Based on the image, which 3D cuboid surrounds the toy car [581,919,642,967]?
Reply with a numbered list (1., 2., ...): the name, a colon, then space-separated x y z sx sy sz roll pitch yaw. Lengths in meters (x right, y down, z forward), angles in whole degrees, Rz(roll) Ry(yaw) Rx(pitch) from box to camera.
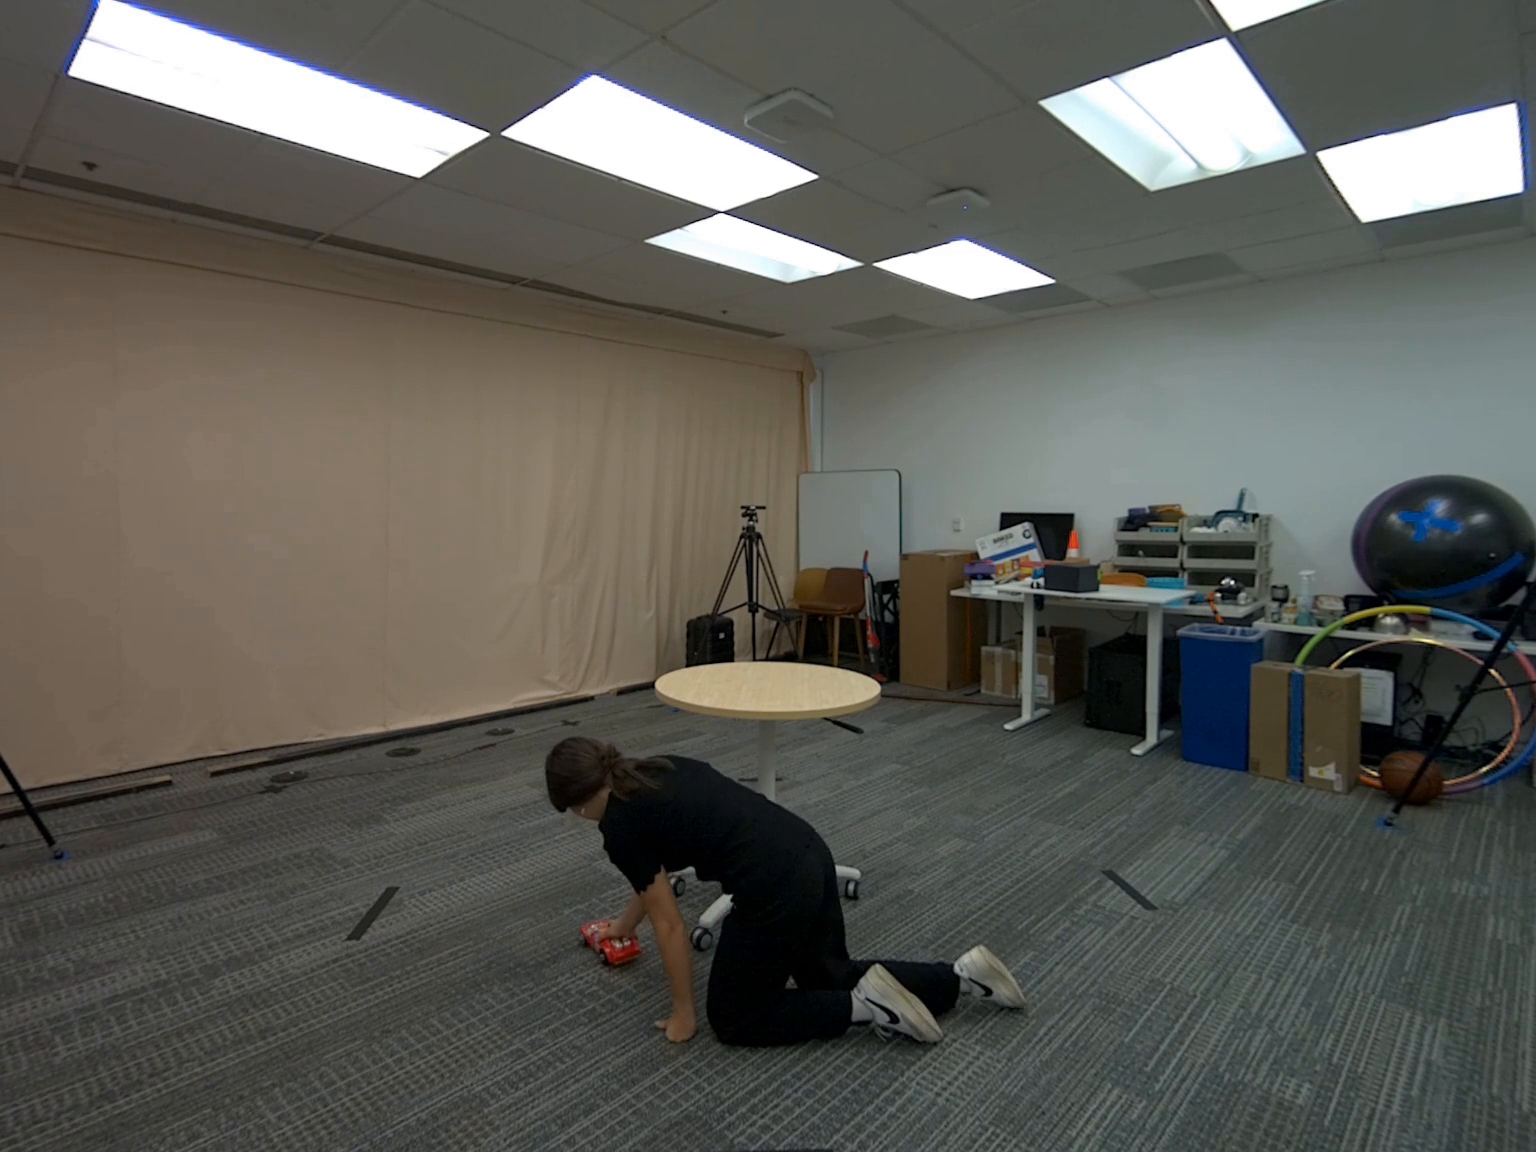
1. toy car: -0.491 1.152 2.616 0.126 0.083 0.261 -3 -4 -36
